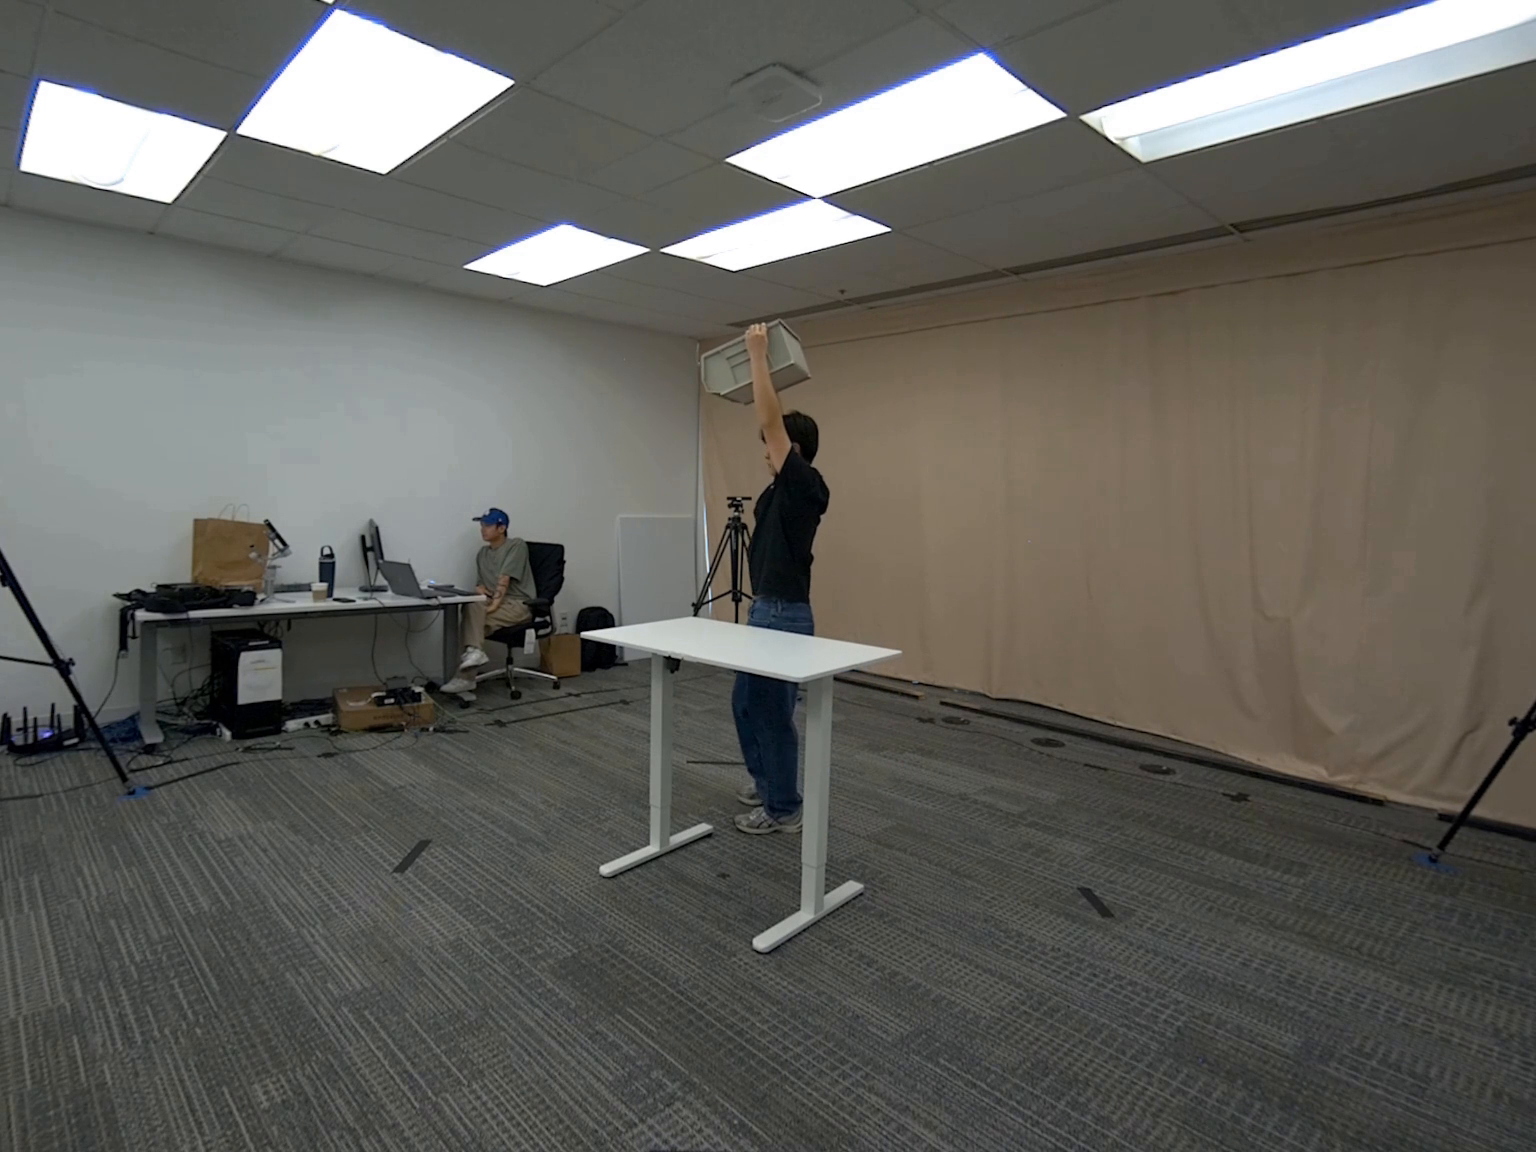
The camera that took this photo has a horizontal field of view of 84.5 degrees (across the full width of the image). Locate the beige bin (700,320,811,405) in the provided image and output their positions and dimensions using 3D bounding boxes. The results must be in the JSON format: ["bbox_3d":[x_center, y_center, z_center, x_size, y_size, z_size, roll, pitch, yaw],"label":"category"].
[{"bbox_3d":[-0.051,-0.866,3.500,0.380,0.189,0.419,-20,0,14],"label":"beige bin"}]
